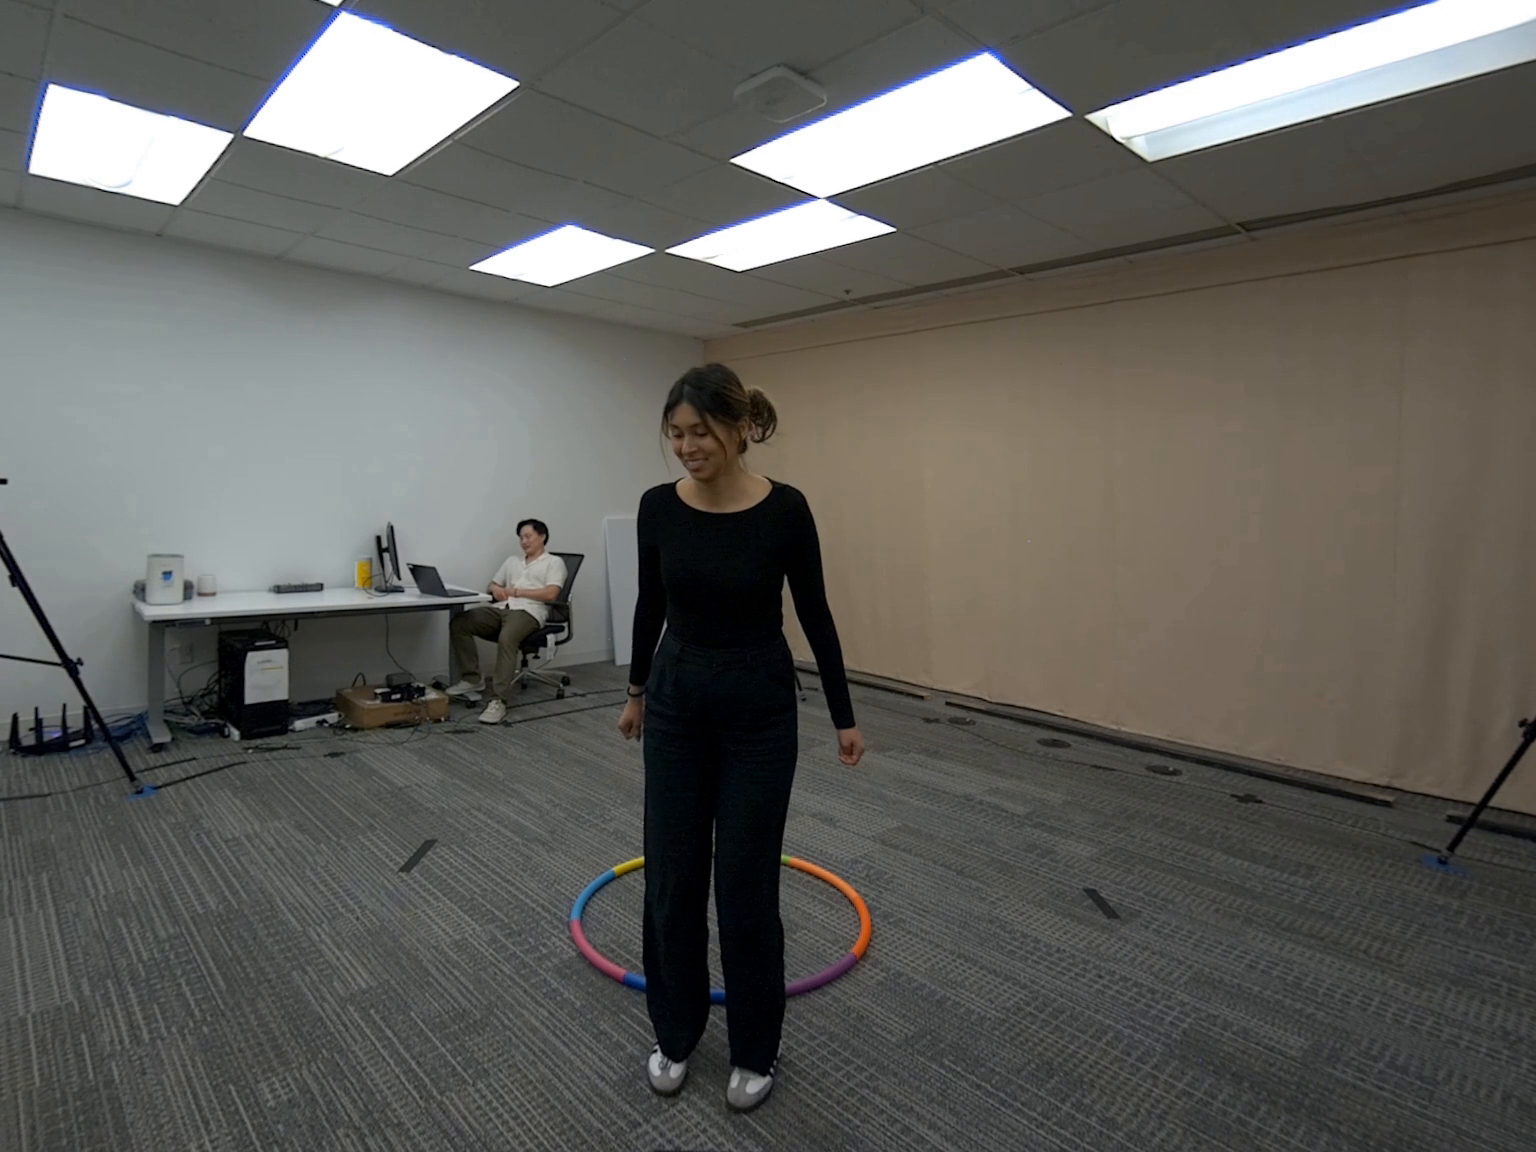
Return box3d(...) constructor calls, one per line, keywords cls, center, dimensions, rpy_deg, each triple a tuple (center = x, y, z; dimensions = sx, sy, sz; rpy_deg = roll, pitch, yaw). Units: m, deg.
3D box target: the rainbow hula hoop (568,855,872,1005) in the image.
box3d(cls="rainbow hula hoop", center=(-0.164, 1.106, 2.798), dimensions=(0.978, 0.035, 0.982), rpy_deg=(1, 5, -1))
